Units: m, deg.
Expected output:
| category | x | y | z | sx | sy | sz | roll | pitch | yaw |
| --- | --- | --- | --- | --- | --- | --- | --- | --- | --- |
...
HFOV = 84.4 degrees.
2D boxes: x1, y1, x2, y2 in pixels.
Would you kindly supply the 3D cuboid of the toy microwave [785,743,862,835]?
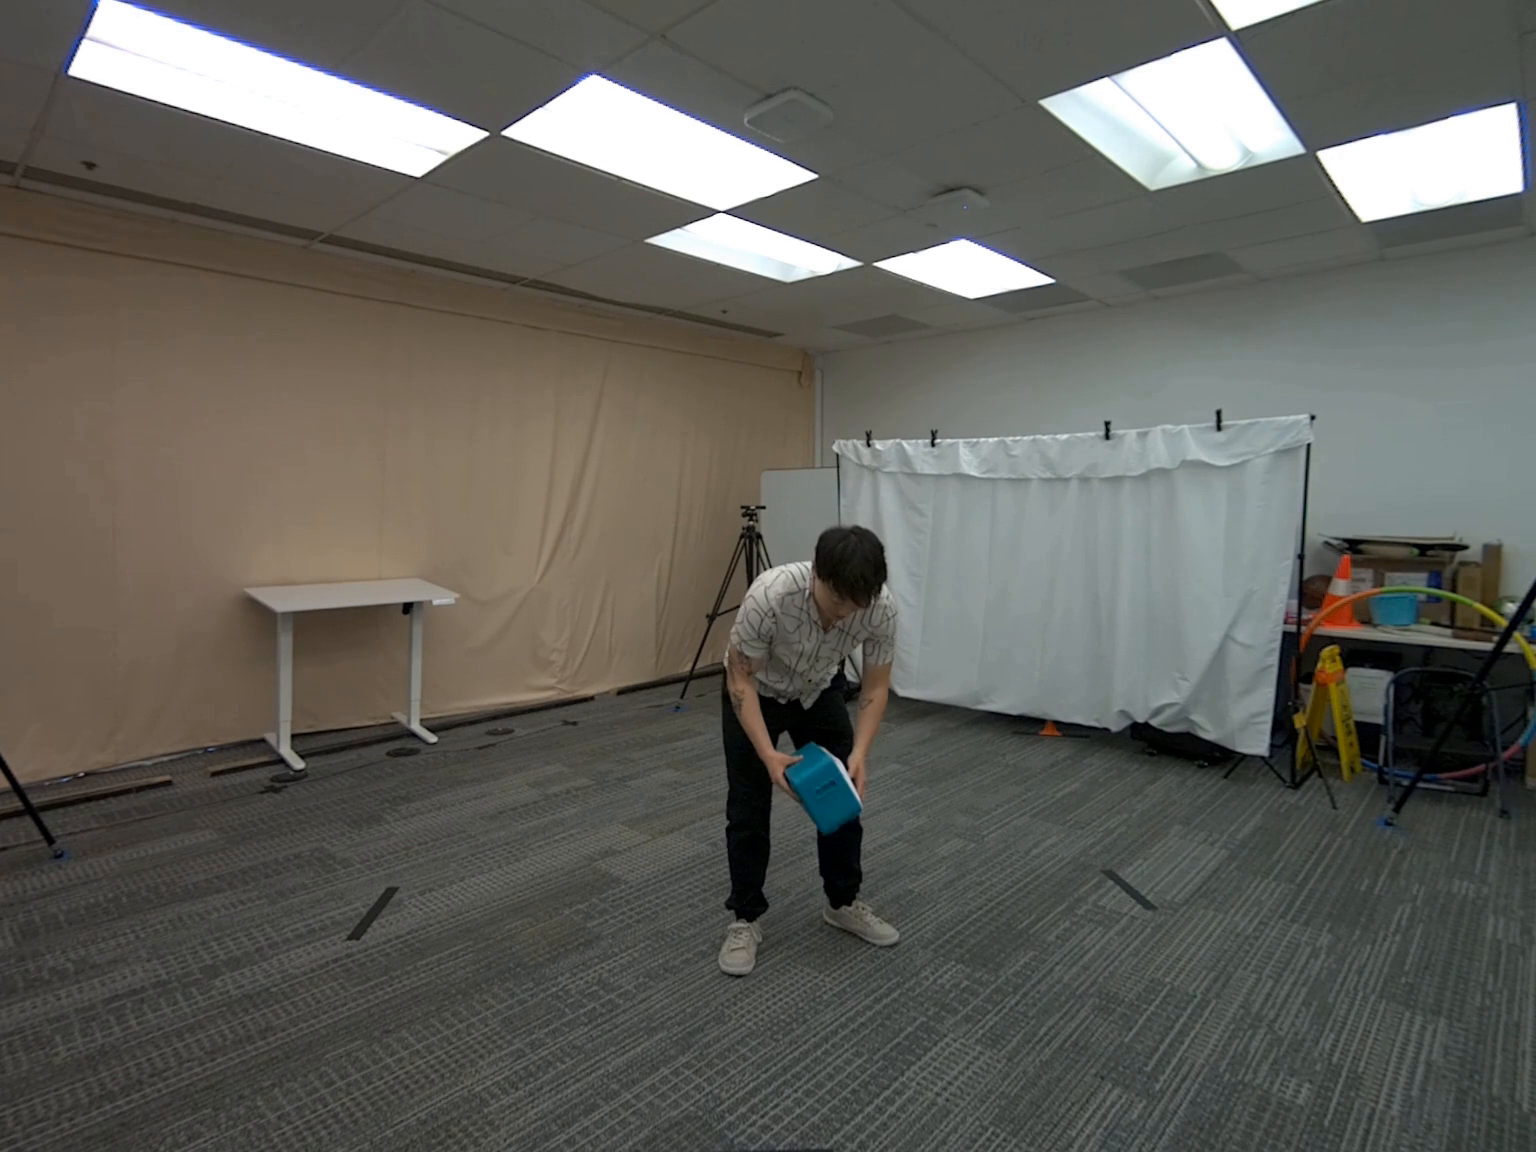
| category | x | y | z | sx | sy | sz | roll | pitch | yaw |
| --- | --- | --- | --- | --- | --- | --- | --- | --- | --- |
| toy microwave | 0.151 | 0.591 | 2.384 | 0.152 | 0.184 | 0.287 | -30 | 1 | -6 |
